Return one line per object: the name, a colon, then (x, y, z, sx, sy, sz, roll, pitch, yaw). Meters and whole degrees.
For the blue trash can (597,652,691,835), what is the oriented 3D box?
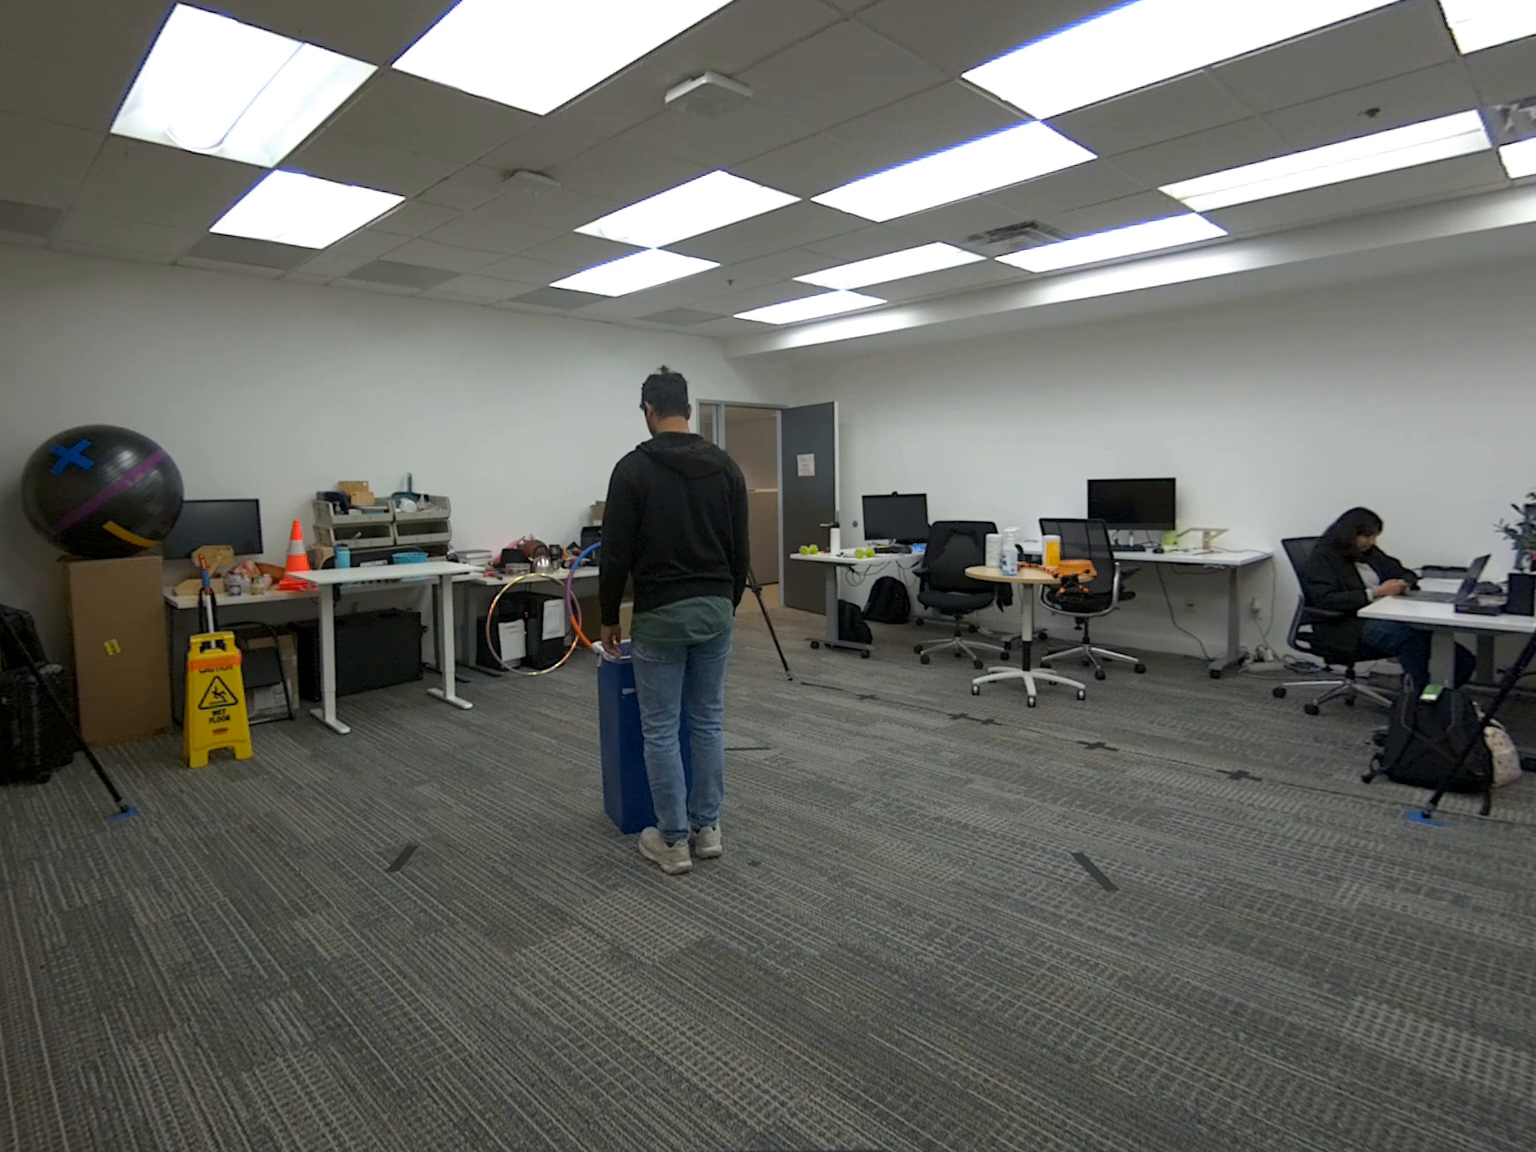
blue trash can: (-0.503, 0.643, 3.558, 0.366, 0.711, 0.387, -3, 4, -25)
